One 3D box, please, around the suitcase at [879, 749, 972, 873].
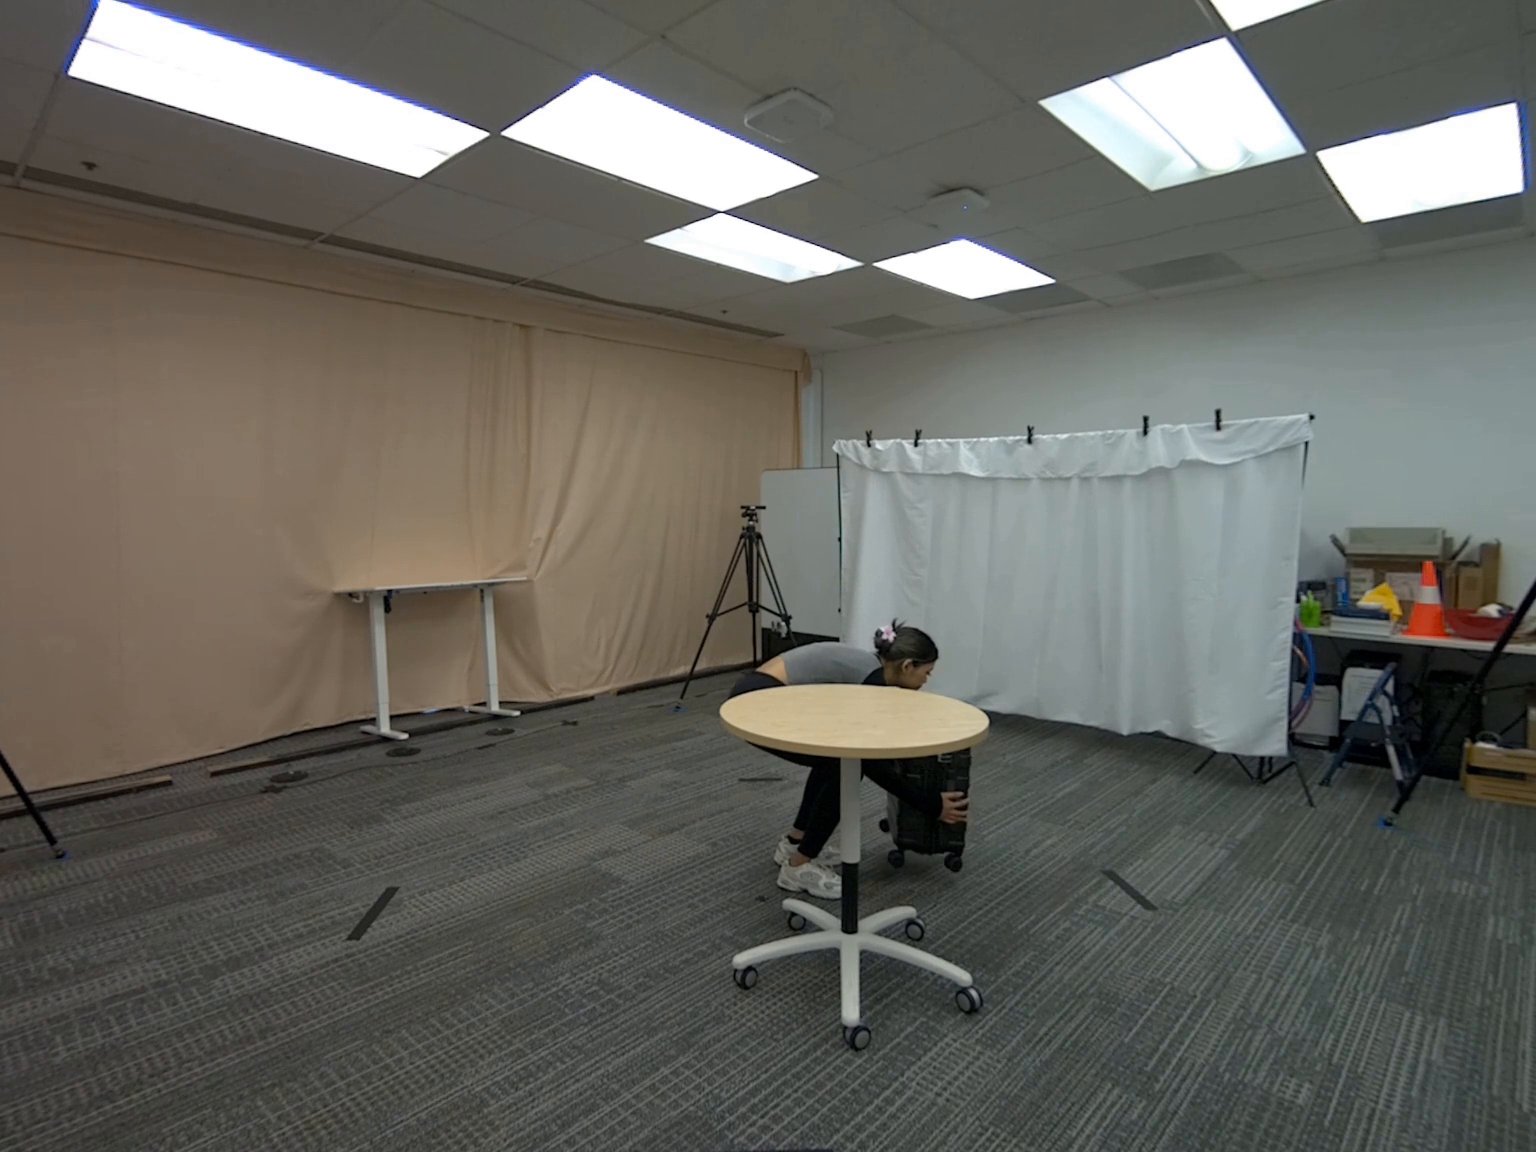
[{"bbox_3d":[0.611,0.775,3.188,0.250,0.548,0.374,4,5,3],"label":"suitcase"}]
